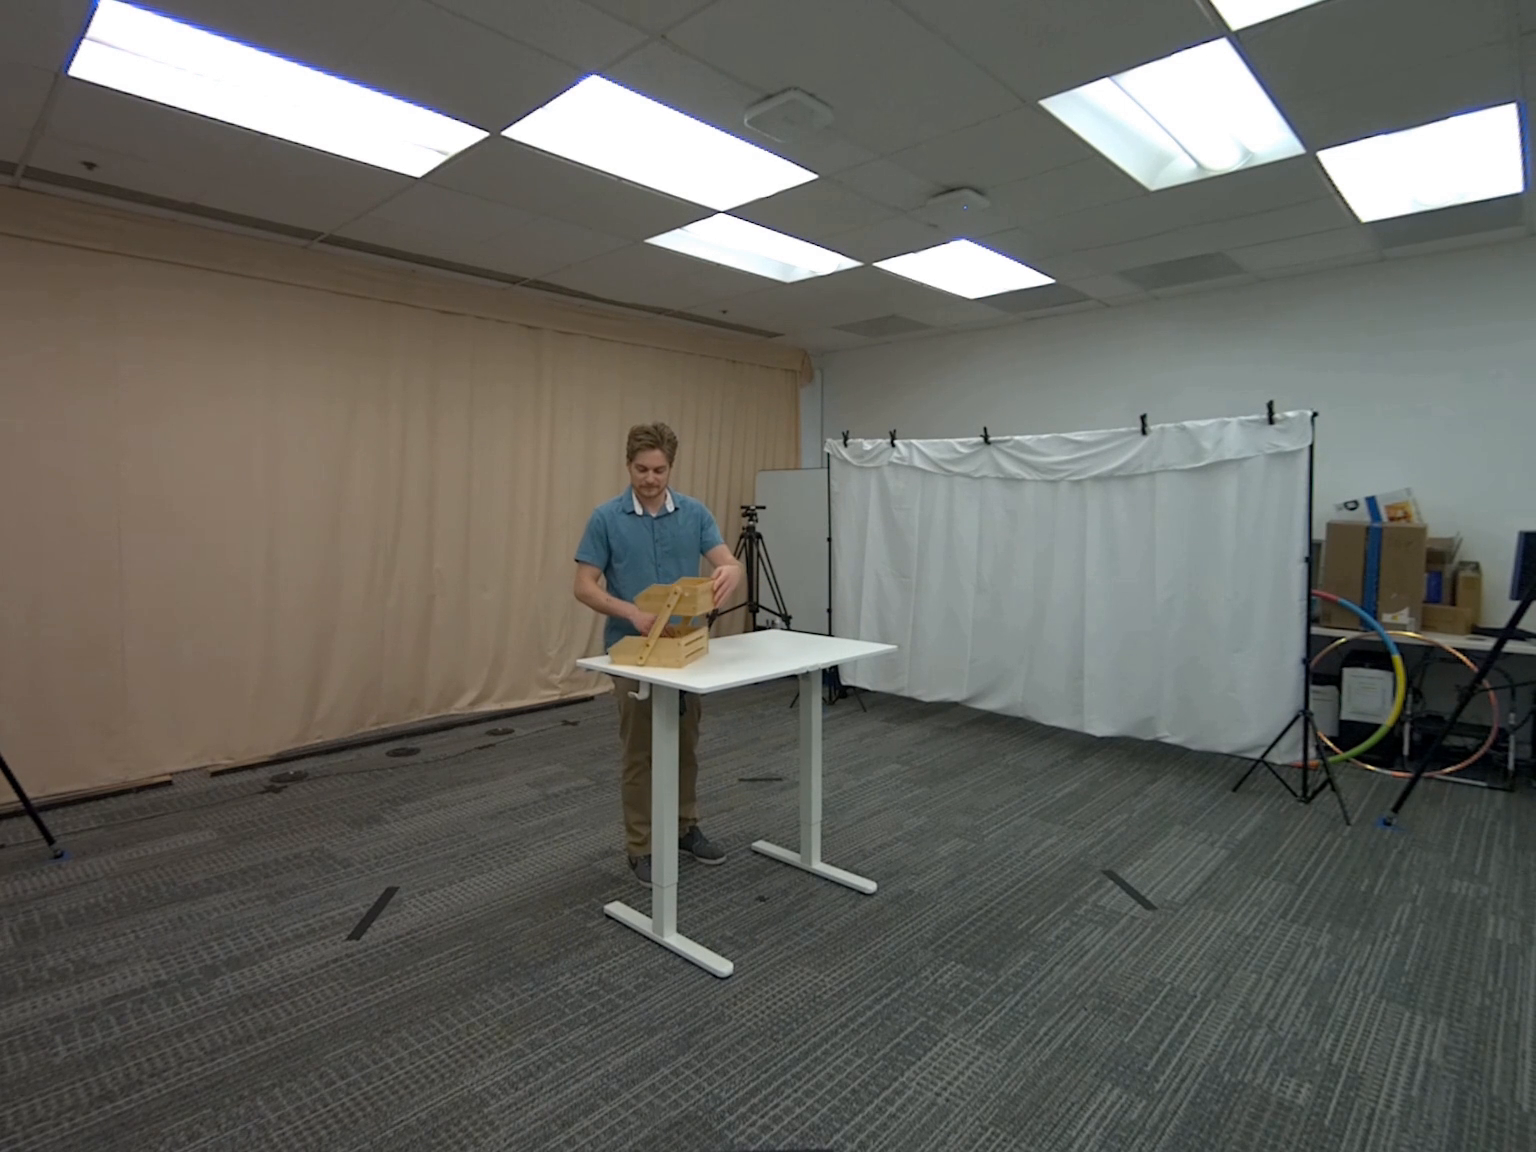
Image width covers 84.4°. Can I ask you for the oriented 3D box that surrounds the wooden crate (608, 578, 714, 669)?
[{"bbox_3d":[-0.329,0.145,2.796,0.306,0.273,0.320,1,4,13],"label":"wooden crate"}]
